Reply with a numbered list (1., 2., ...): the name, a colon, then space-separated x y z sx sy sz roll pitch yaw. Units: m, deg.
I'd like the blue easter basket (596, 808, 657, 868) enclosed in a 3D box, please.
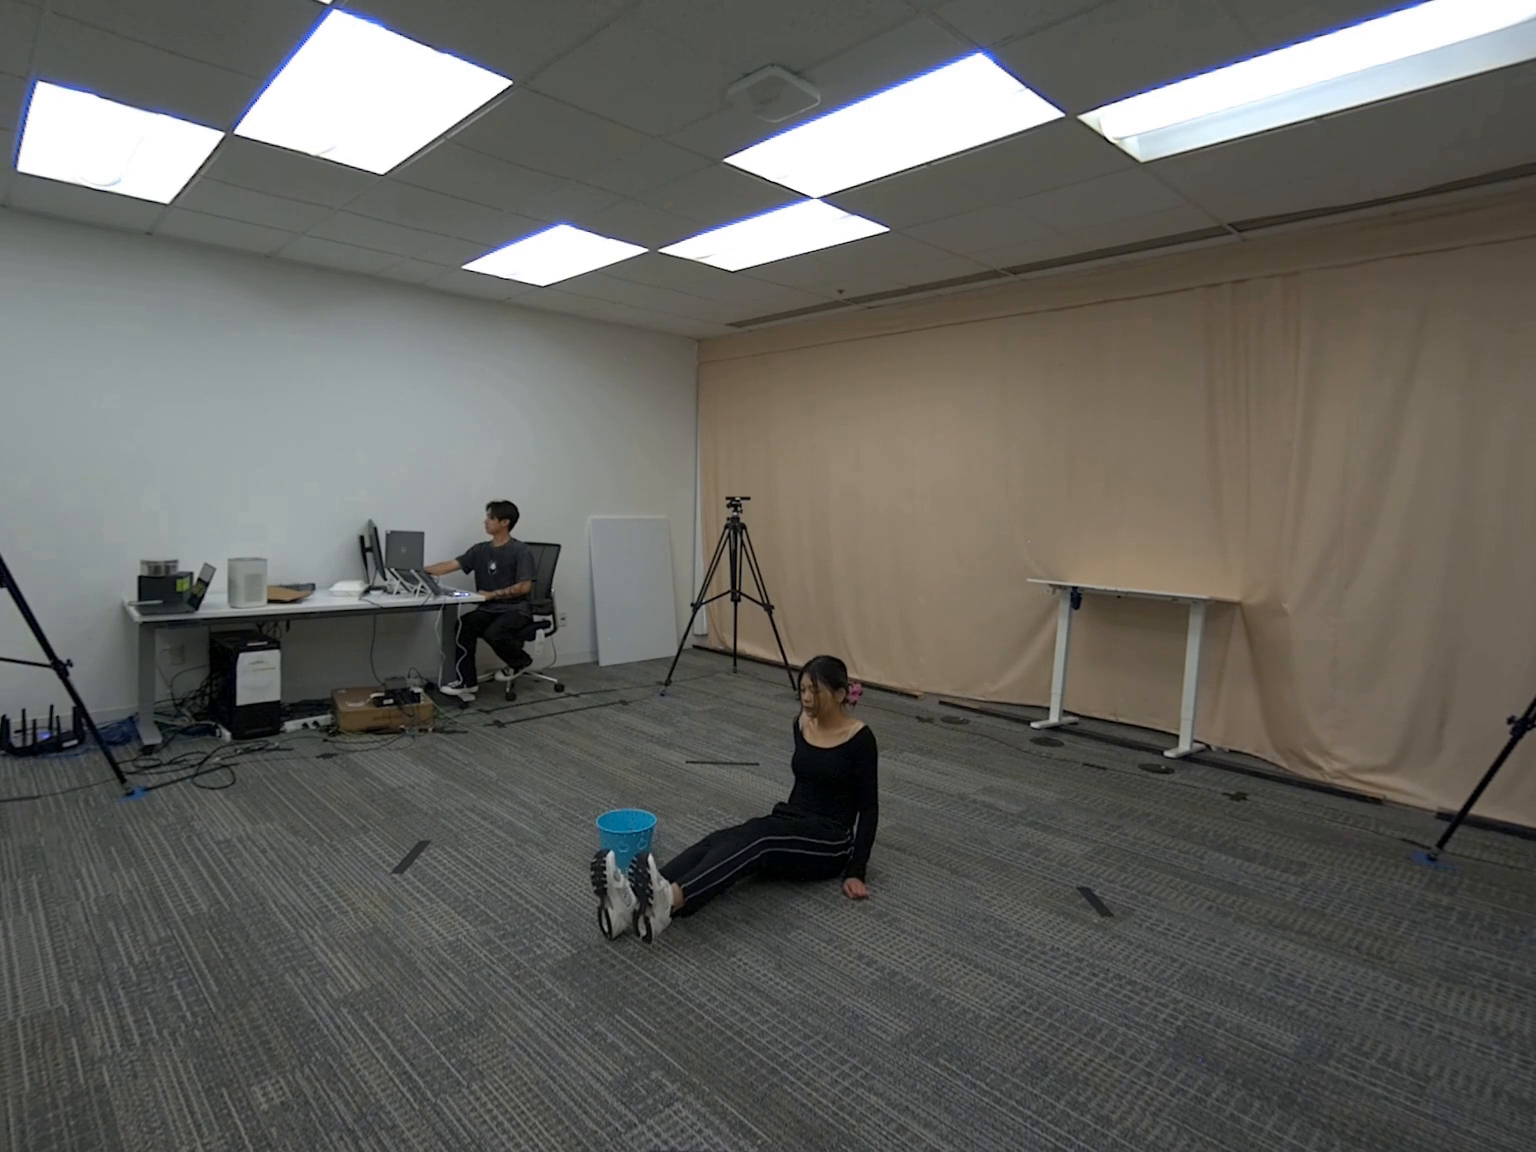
1. blue easter basket: -0.546 1.004 3.228 0.243 0.155 0.244 1 5 -1
